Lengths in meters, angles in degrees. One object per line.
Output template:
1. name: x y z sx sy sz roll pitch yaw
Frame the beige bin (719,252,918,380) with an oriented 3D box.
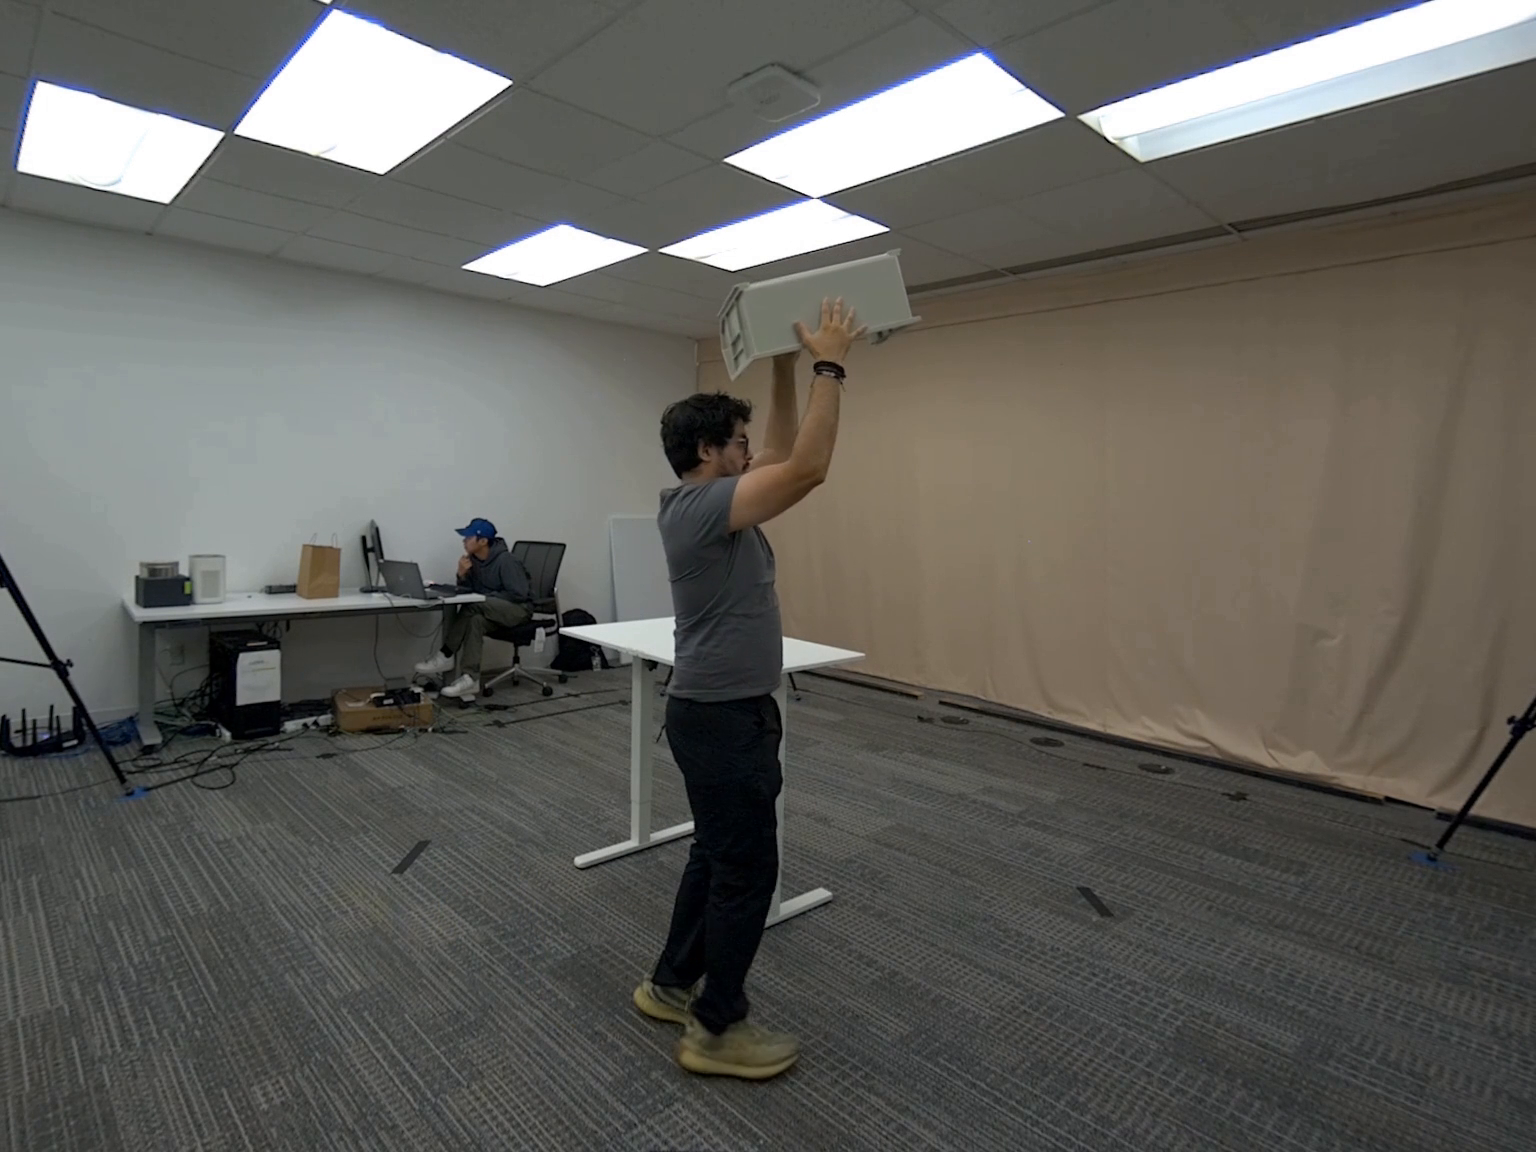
1. beige bin: 0.106 -0.651 2.139 0.420 0.188 0.381 -15 6 -8
